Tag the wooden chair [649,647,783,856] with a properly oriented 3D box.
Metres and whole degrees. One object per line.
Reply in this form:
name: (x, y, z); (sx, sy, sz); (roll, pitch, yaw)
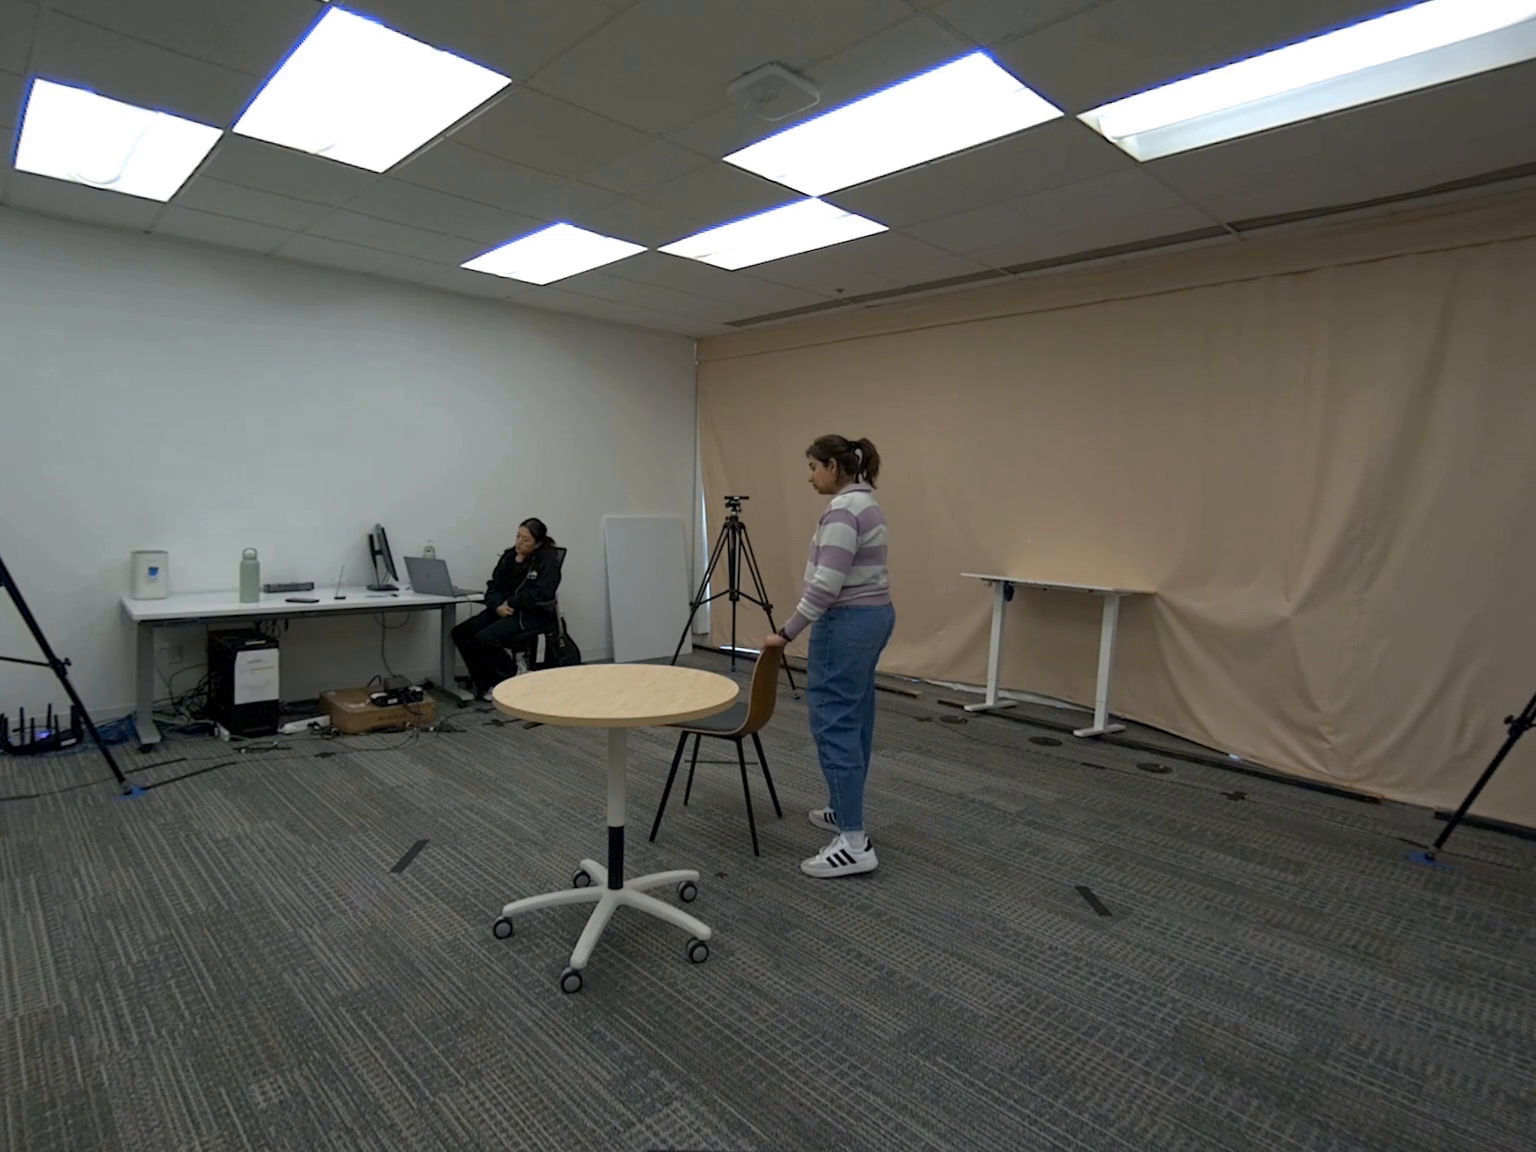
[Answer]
wooden chair: (-0.209, 0.638, 3.510); (0.530, 0.875, 0.473); (7, 5, 15)
